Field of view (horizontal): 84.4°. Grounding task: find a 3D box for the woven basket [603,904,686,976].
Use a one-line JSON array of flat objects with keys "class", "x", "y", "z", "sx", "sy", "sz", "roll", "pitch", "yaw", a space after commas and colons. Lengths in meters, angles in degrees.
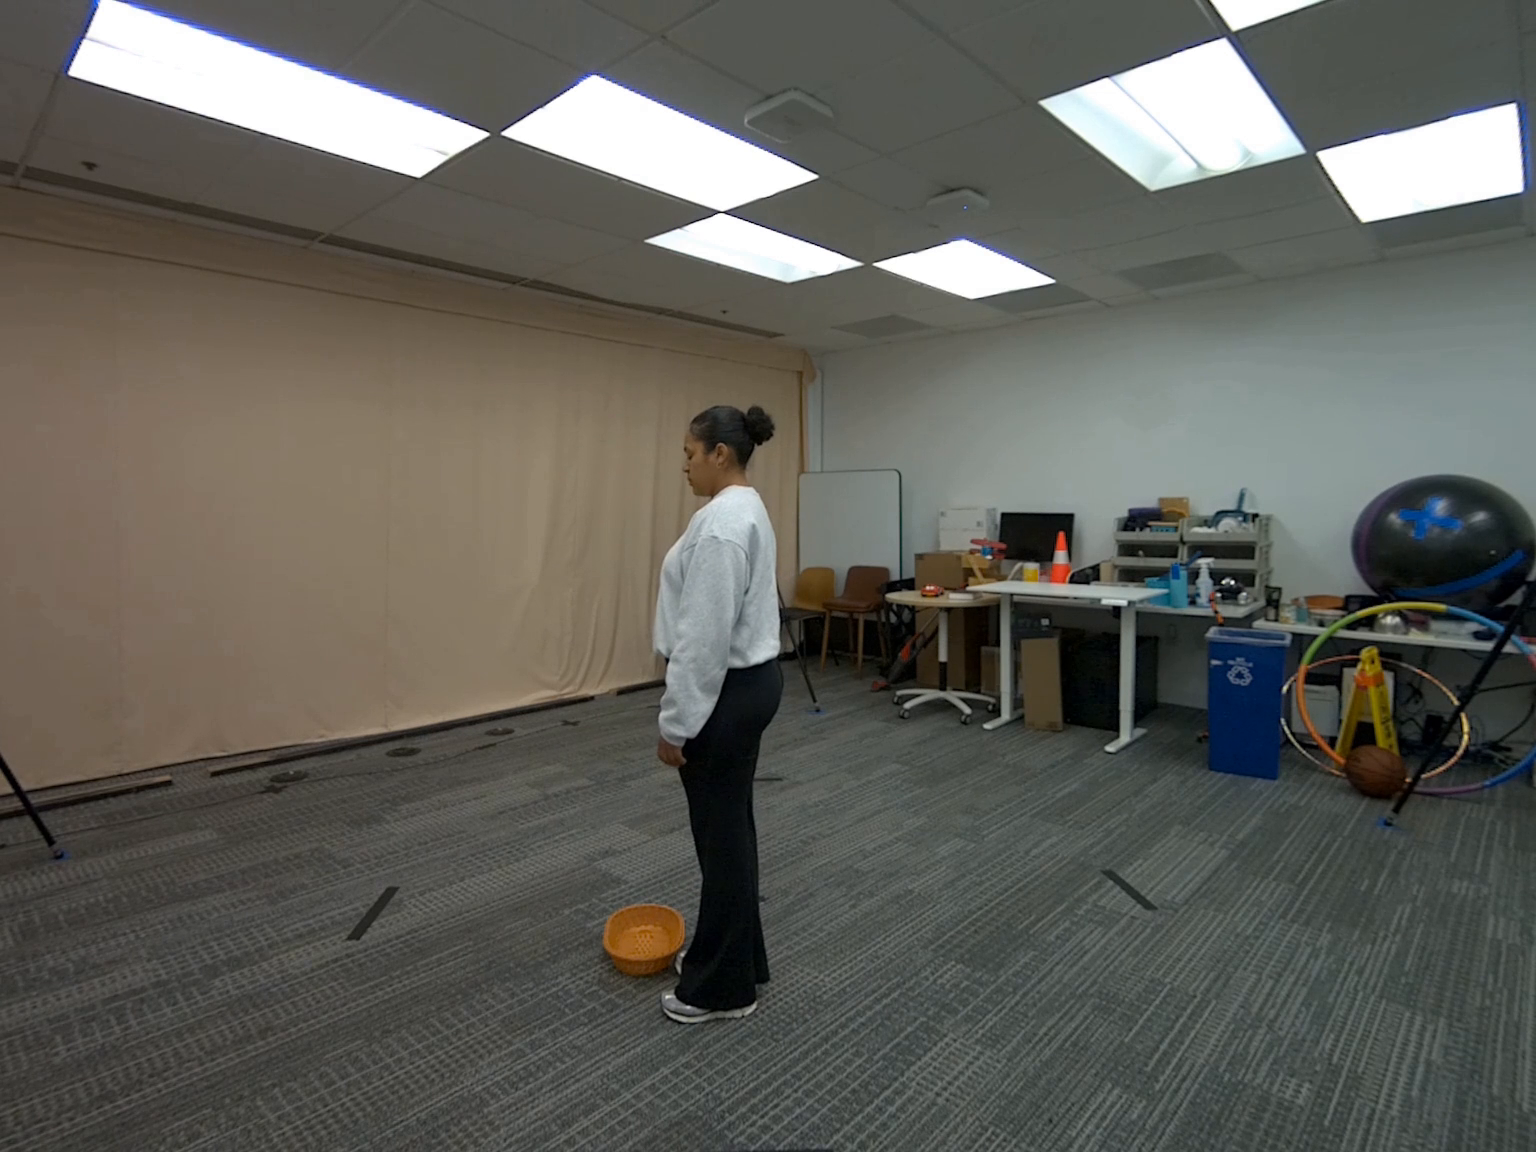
[{"class": "woven basket", "x": -0.389, "y": 1.136, "z": 2.634, "sx": 0.252, "sy": 0.073, "sz": 0.351, "roll": 0, "pitch": 5, "yaw": -2}]
